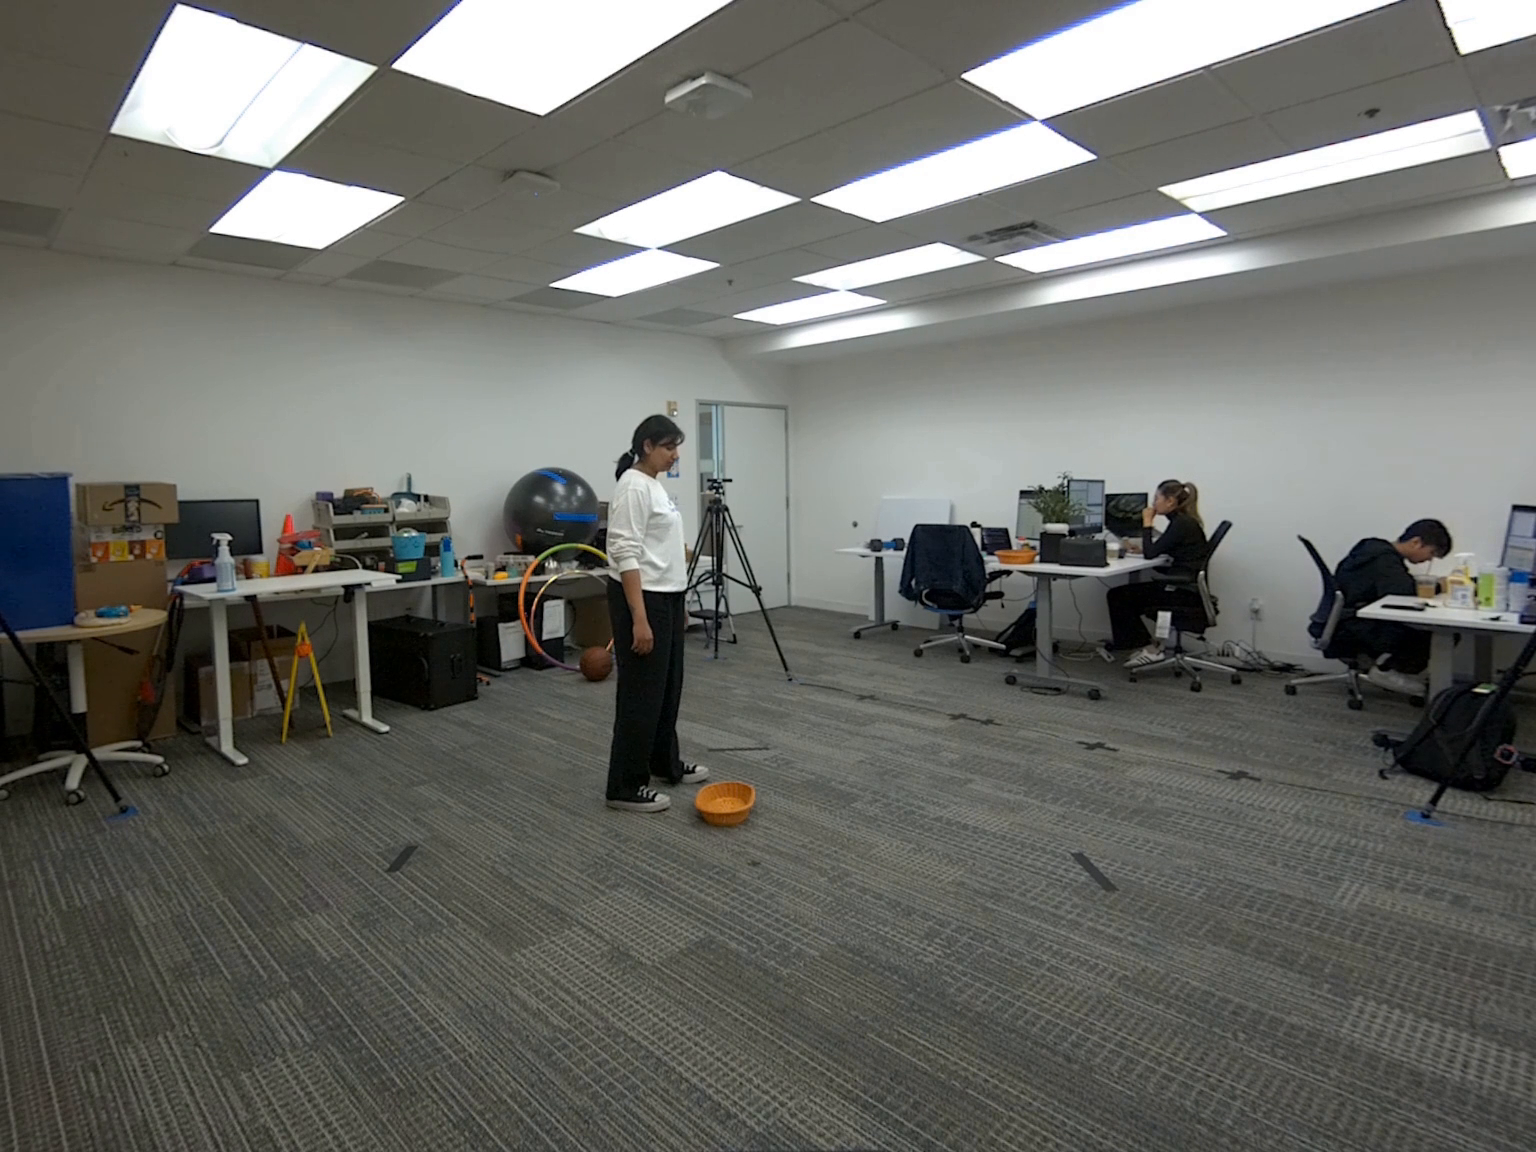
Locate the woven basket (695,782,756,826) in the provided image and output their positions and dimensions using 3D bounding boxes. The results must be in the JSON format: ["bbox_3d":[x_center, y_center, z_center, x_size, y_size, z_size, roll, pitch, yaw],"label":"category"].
[{"bbox_3d":[-0.184,0.955,3.583,0.254,0.073,0.350,-2,6,6],"label":"woven basket"}]
